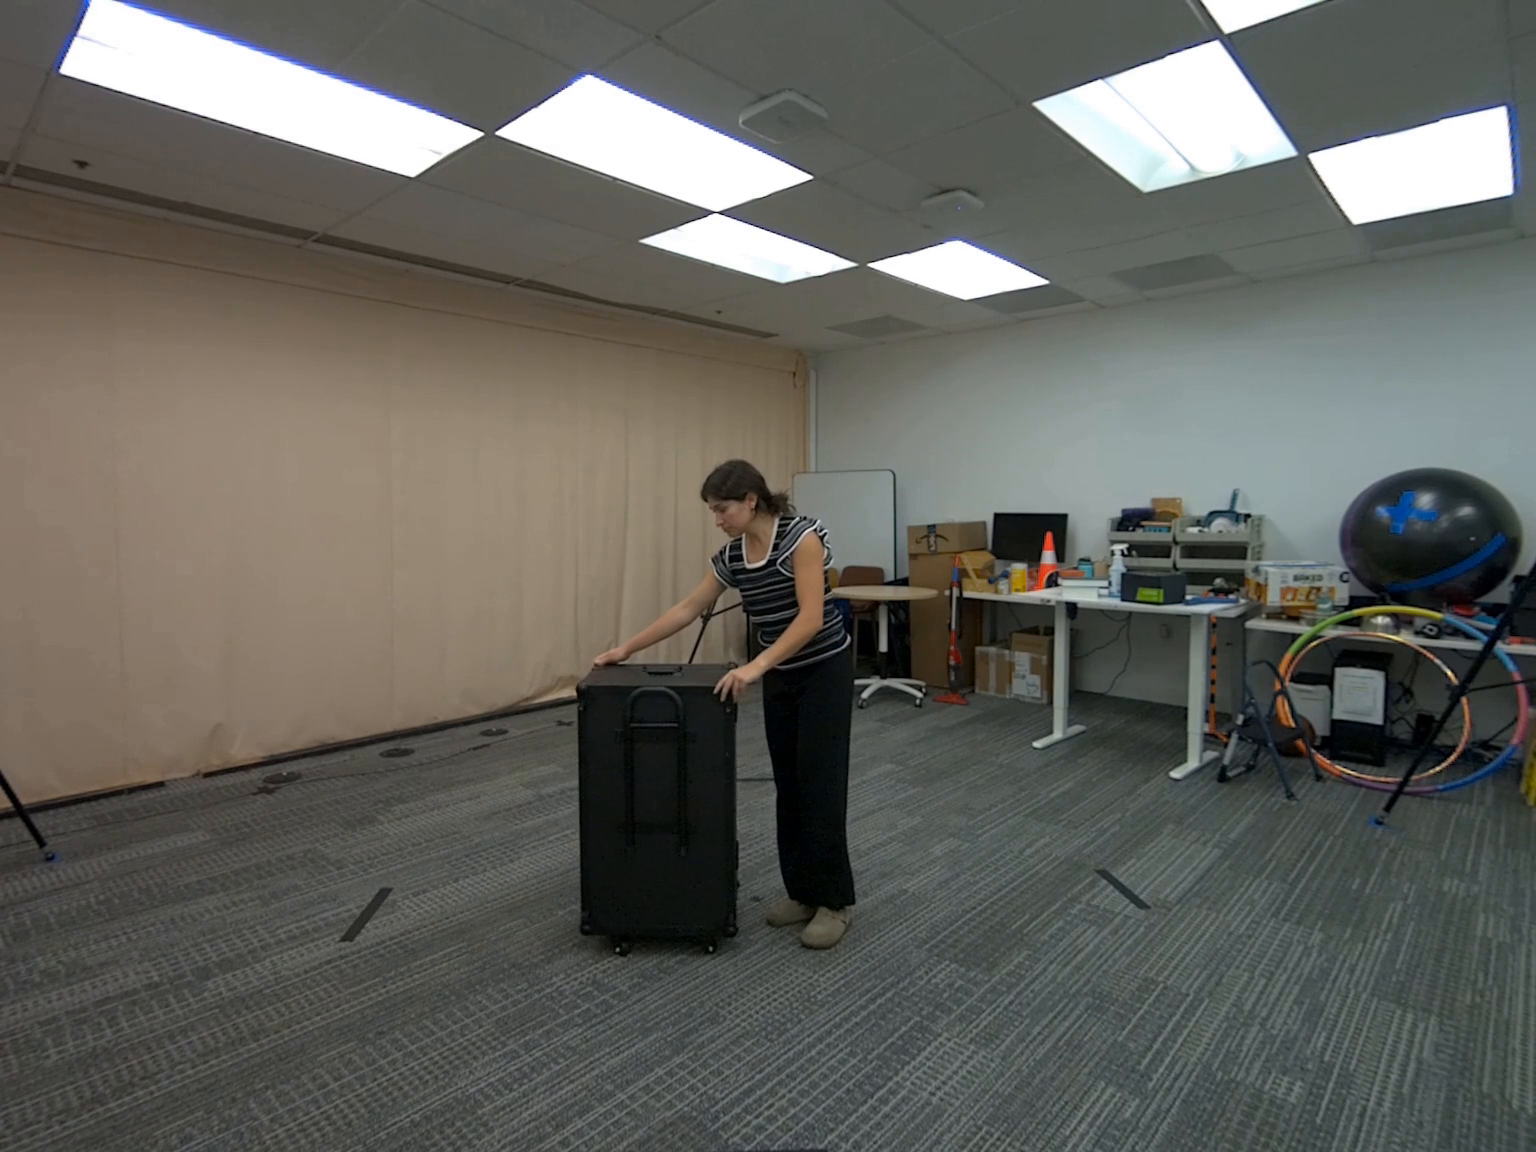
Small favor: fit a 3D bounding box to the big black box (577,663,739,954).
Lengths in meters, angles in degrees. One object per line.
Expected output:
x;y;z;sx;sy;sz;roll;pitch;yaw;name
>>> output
-0.336;0.748;2.731;0.523;0.860;0.396;0;3;2;big black box
